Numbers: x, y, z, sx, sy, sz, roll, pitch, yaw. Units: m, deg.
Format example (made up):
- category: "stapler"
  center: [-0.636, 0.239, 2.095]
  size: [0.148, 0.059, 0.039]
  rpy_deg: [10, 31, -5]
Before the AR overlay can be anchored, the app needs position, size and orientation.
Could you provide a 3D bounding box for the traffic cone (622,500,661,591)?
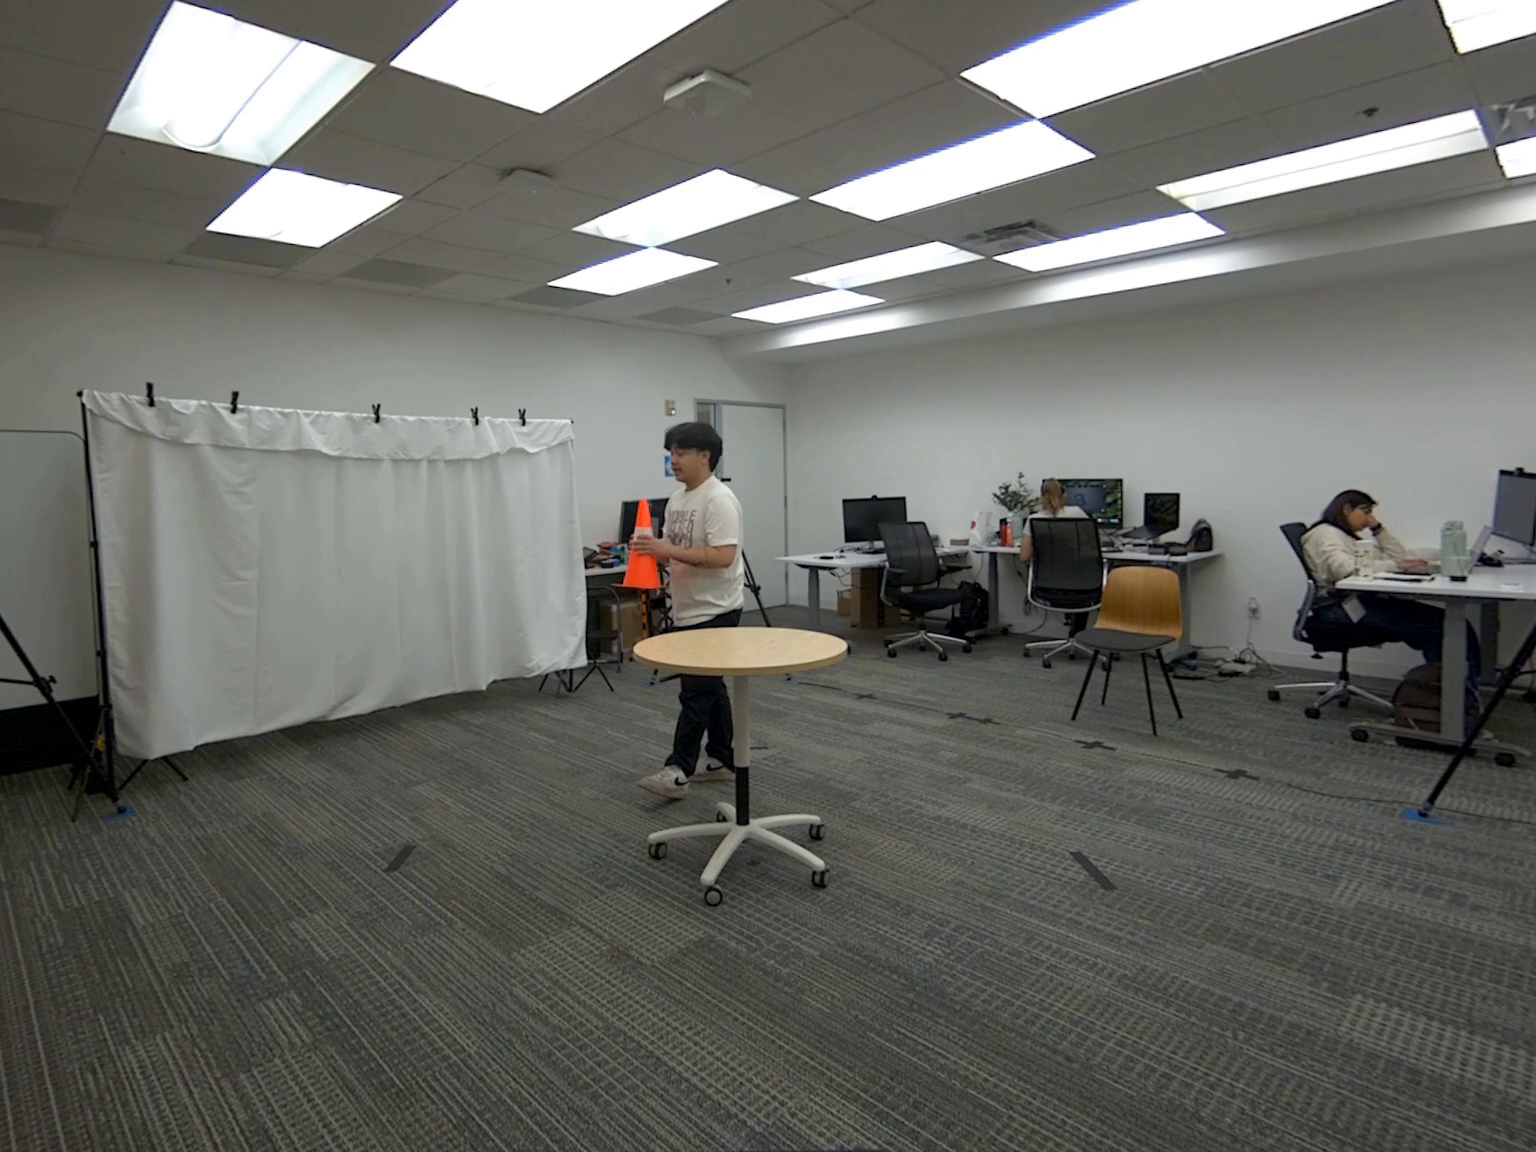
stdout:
- category: "traffic cone"
  center: [-0.549, -0.144, 3.753]
  size: [0.208, 0.384, 0.200]
  rpy_deg: [2, -1, 22]
